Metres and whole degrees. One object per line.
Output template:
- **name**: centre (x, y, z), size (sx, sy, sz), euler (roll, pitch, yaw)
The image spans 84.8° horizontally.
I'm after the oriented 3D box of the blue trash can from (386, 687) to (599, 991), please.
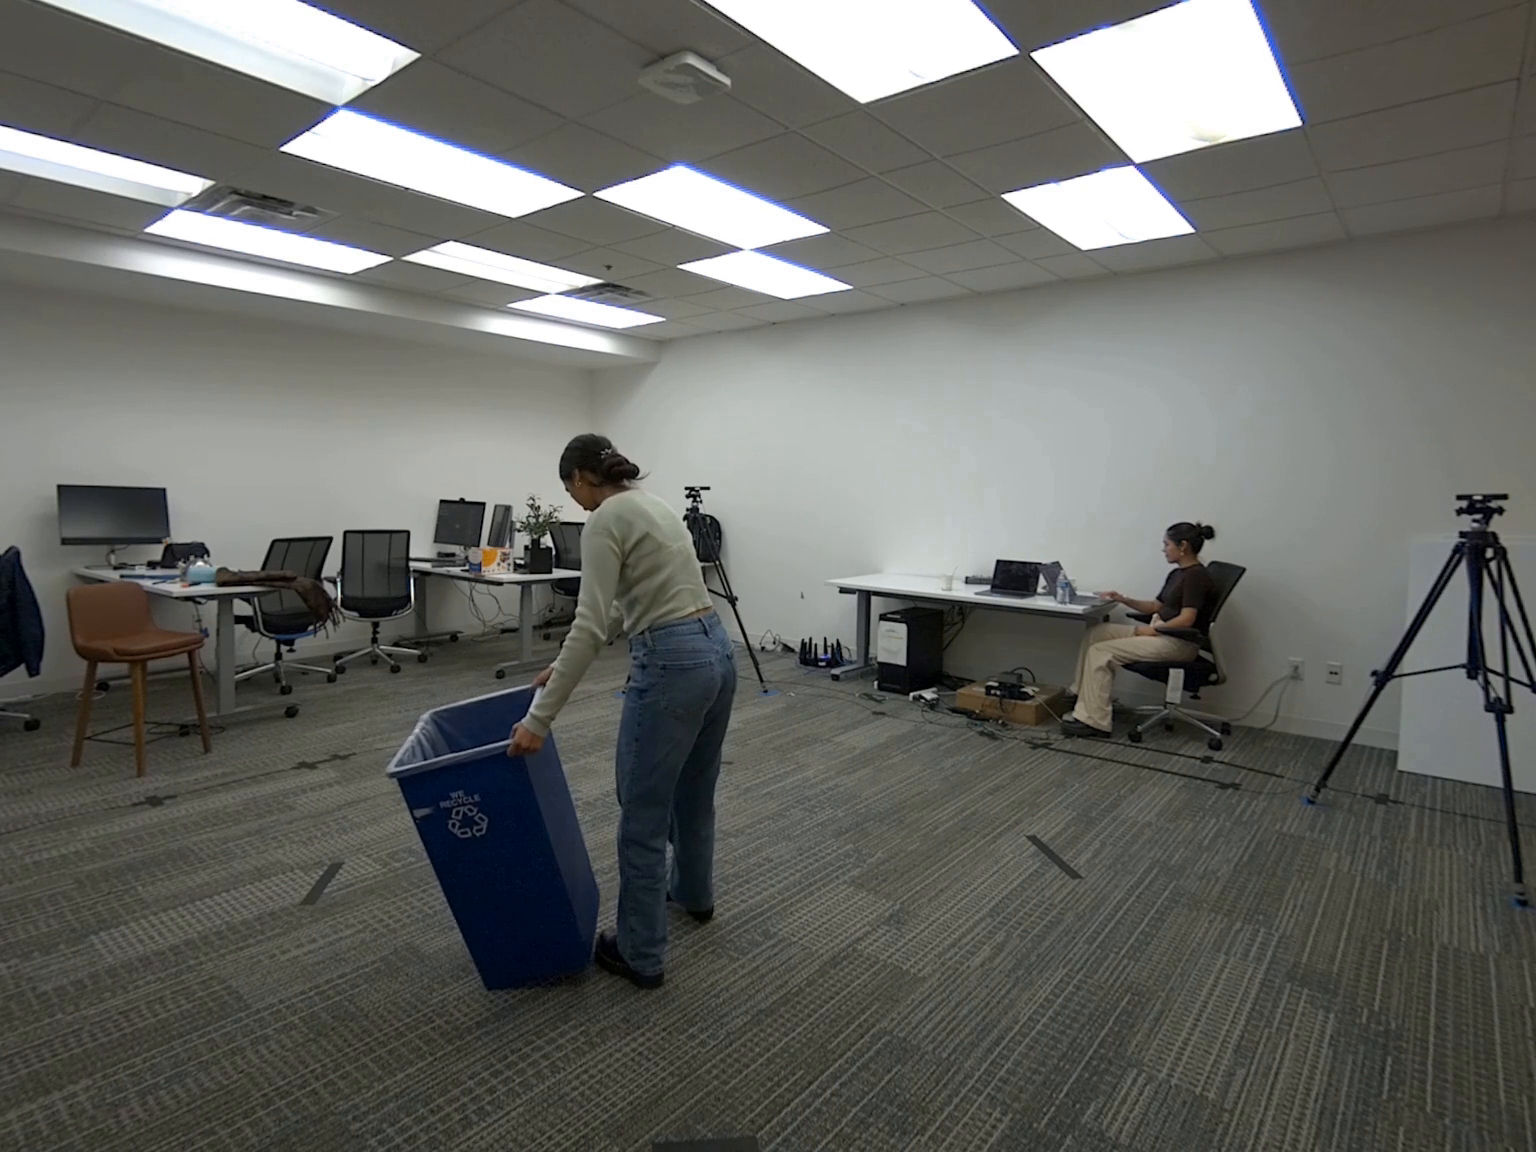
- **blue trash can**: centre (-0.745, 0.736, 2.405), size (0.375, 0.702, 0.383), euler (-14, 14, 2)
